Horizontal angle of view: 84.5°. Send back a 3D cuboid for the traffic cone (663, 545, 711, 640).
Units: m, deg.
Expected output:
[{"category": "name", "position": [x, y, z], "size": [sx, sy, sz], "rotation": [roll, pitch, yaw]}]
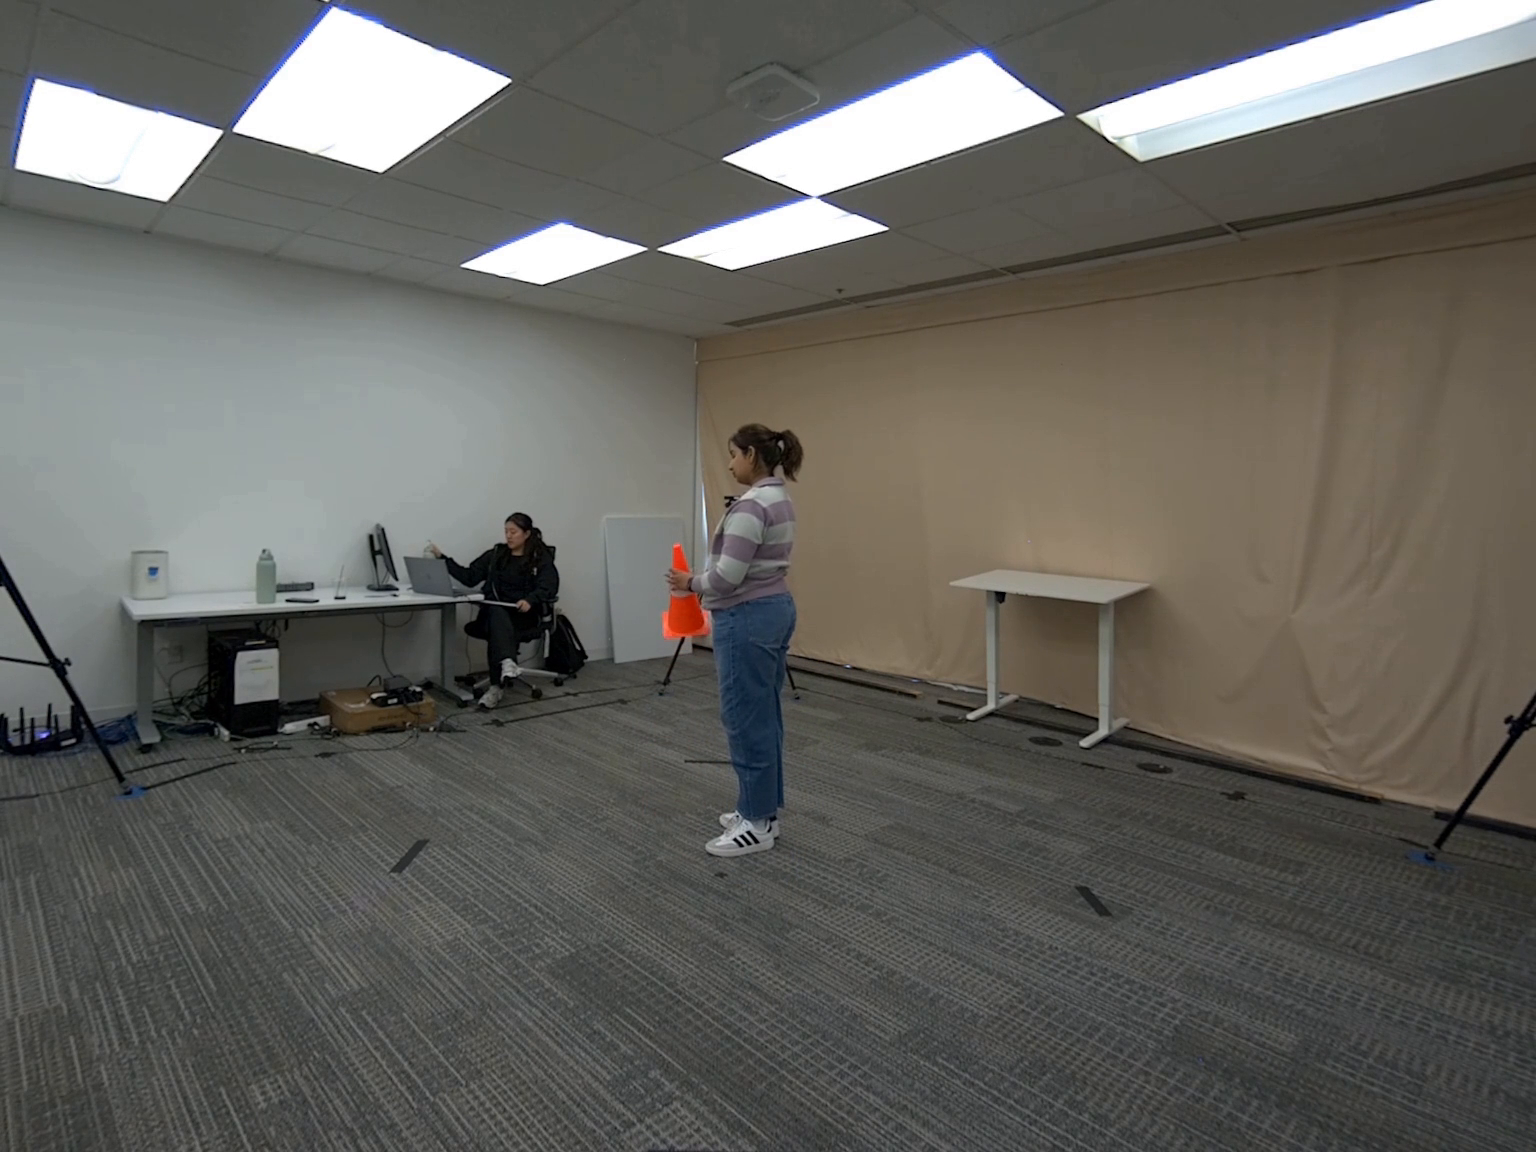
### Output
[{"category": "traffic cone", "position": [-0.361, 0.040, 3.512], "size": [0.203, 0.376, 0.210], "rotation": [-6, 31, -4]}]
